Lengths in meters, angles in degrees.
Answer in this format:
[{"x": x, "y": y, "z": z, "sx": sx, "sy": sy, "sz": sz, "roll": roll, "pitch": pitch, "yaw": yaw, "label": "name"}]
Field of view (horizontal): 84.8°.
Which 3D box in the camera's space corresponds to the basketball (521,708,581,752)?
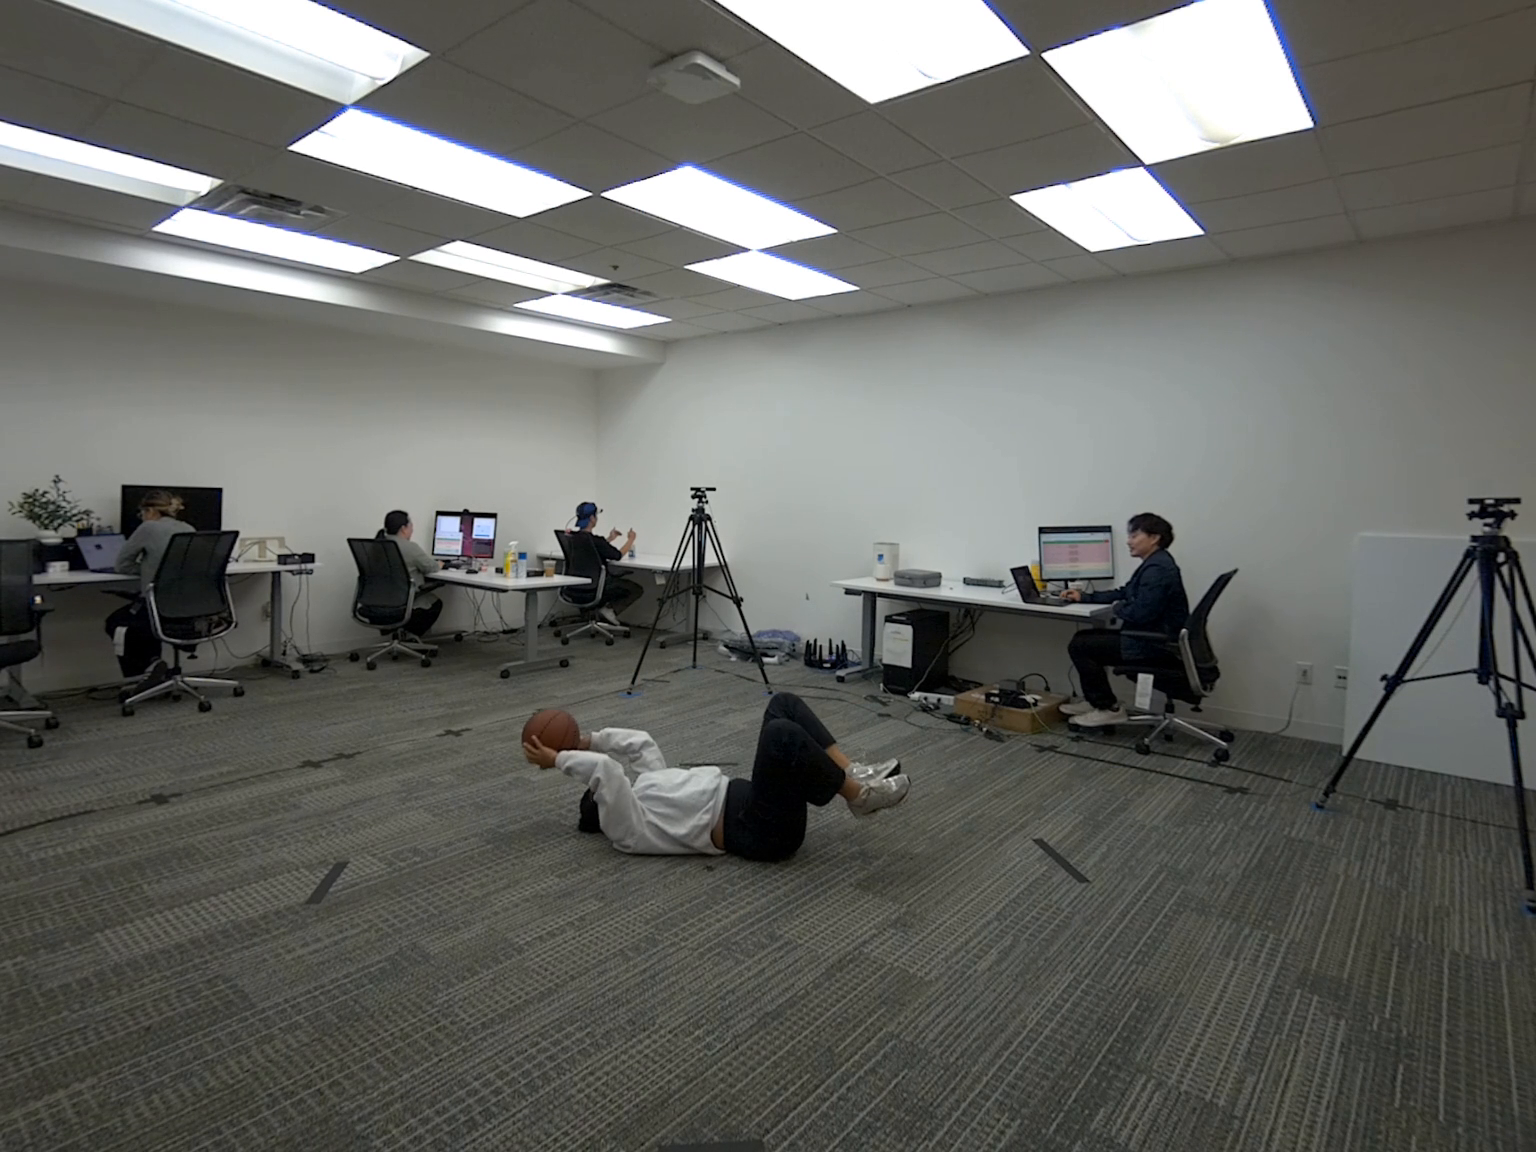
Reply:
[{"x": -0.888, "y": 0.662, "z": 3.510, "sx": 0.236, "sy": 0.234, "sz": 0.238, "roll": -2, "pitch": 8, "yaw": -2, "label": "basketball"}]
